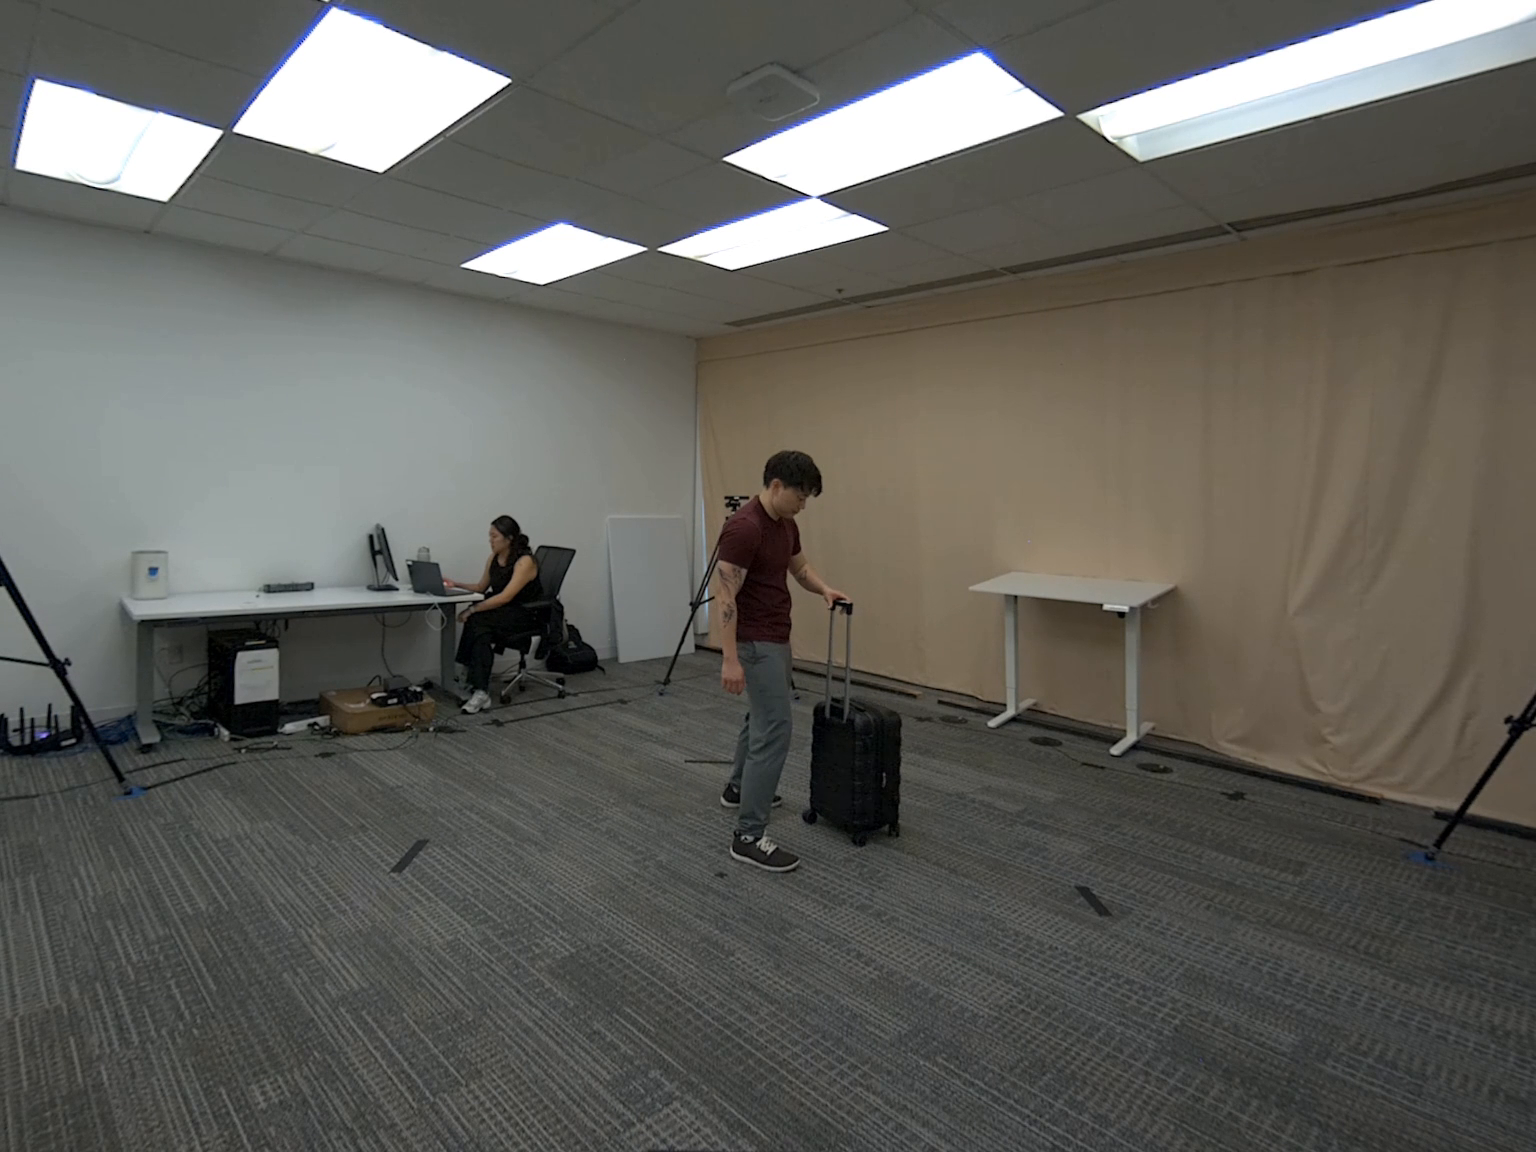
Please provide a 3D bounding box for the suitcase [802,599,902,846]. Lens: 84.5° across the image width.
[{"bbox_3d":[0.386,0.605,3.558,0.252,0.977,0.393,3,3,-30],"label":"suitcase"}]
